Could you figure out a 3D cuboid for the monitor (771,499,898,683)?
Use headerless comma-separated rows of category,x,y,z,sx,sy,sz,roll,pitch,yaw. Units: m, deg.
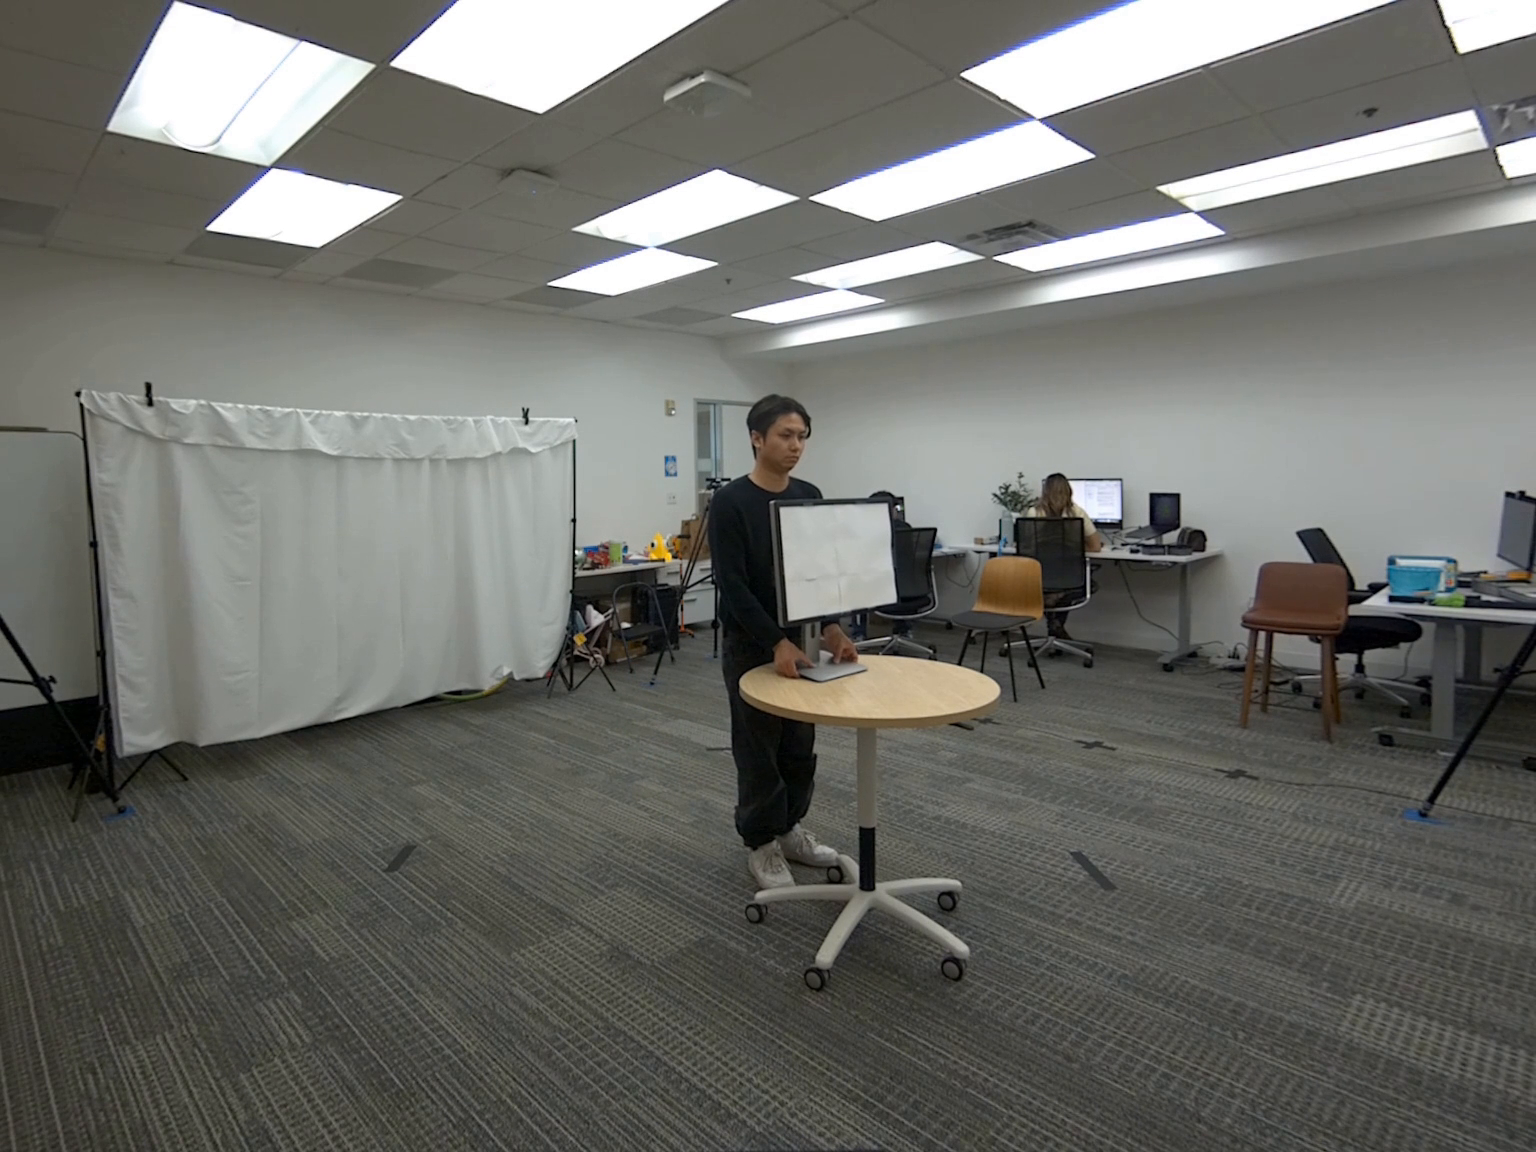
monitor,0.185,0.032,2.671,0.193,0.519,0.525,11,12,41
